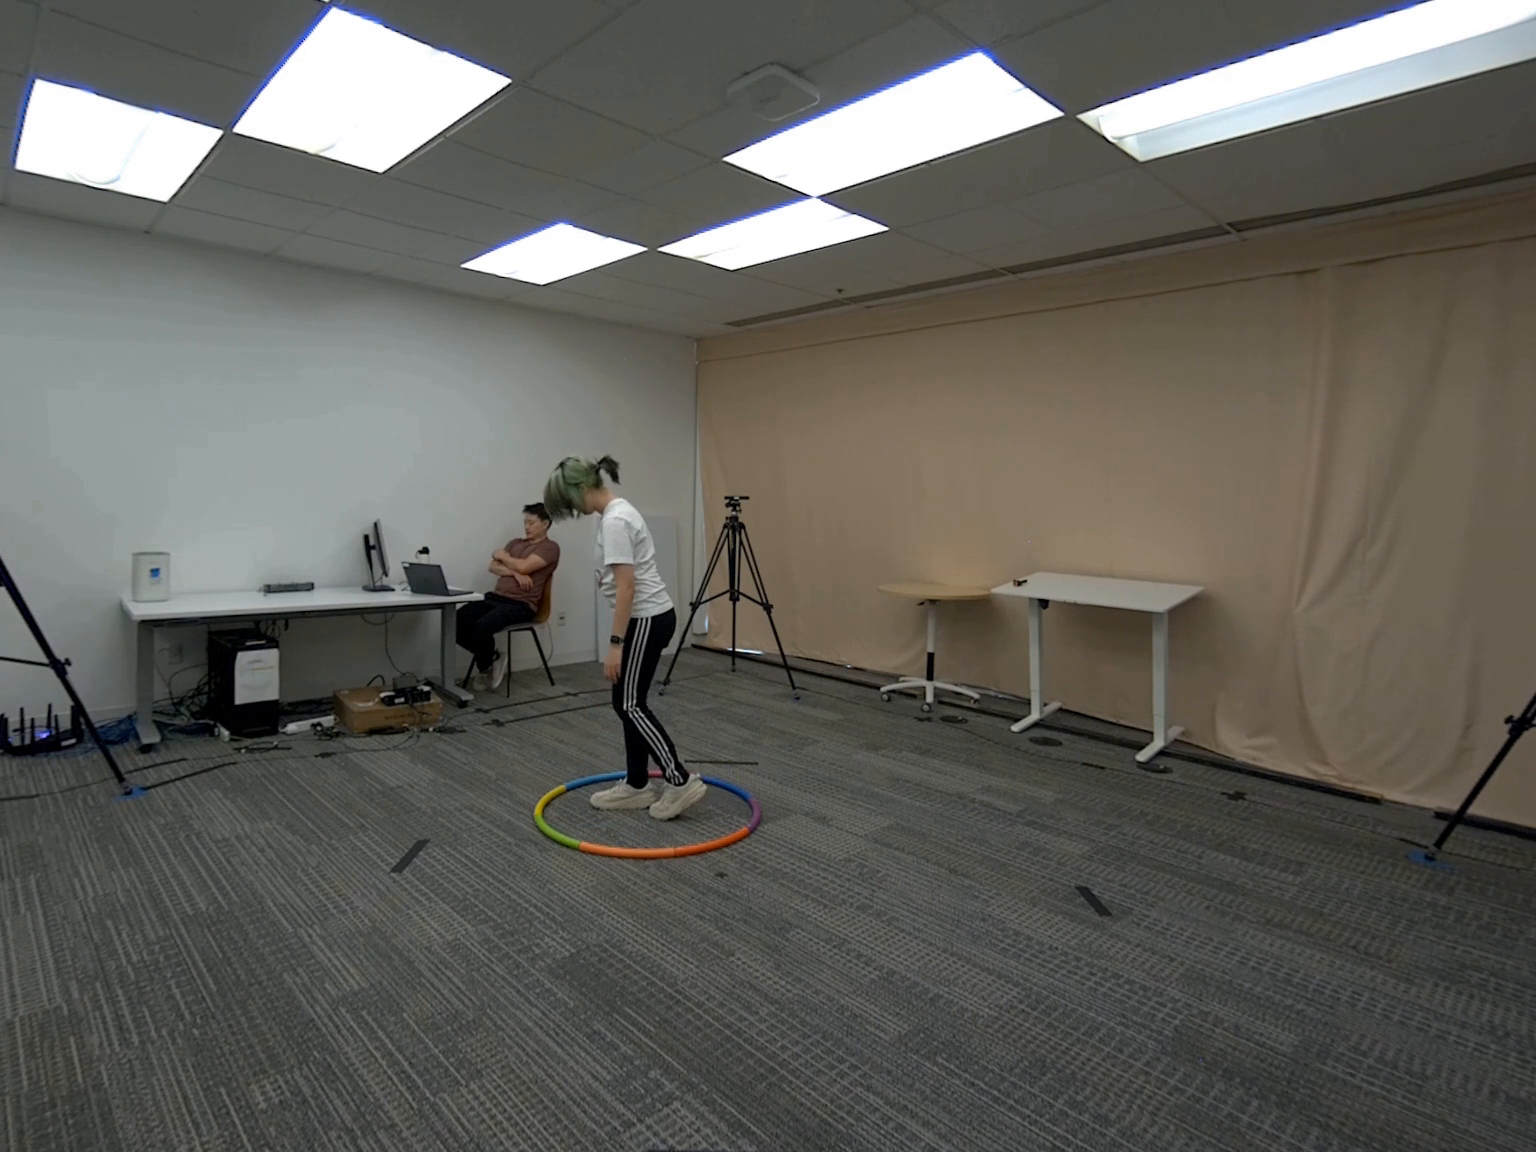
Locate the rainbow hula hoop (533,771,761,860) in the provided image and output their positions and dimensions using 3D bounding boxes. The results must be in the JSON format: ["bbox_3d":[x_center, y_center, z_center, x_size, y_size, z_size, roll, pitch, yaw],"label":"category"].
[{"bbox_3d":[-0.530,1.017,3.705,0.985,0.051,0.989,2,5,-1],"label":"rainbow hula hoop"}]
